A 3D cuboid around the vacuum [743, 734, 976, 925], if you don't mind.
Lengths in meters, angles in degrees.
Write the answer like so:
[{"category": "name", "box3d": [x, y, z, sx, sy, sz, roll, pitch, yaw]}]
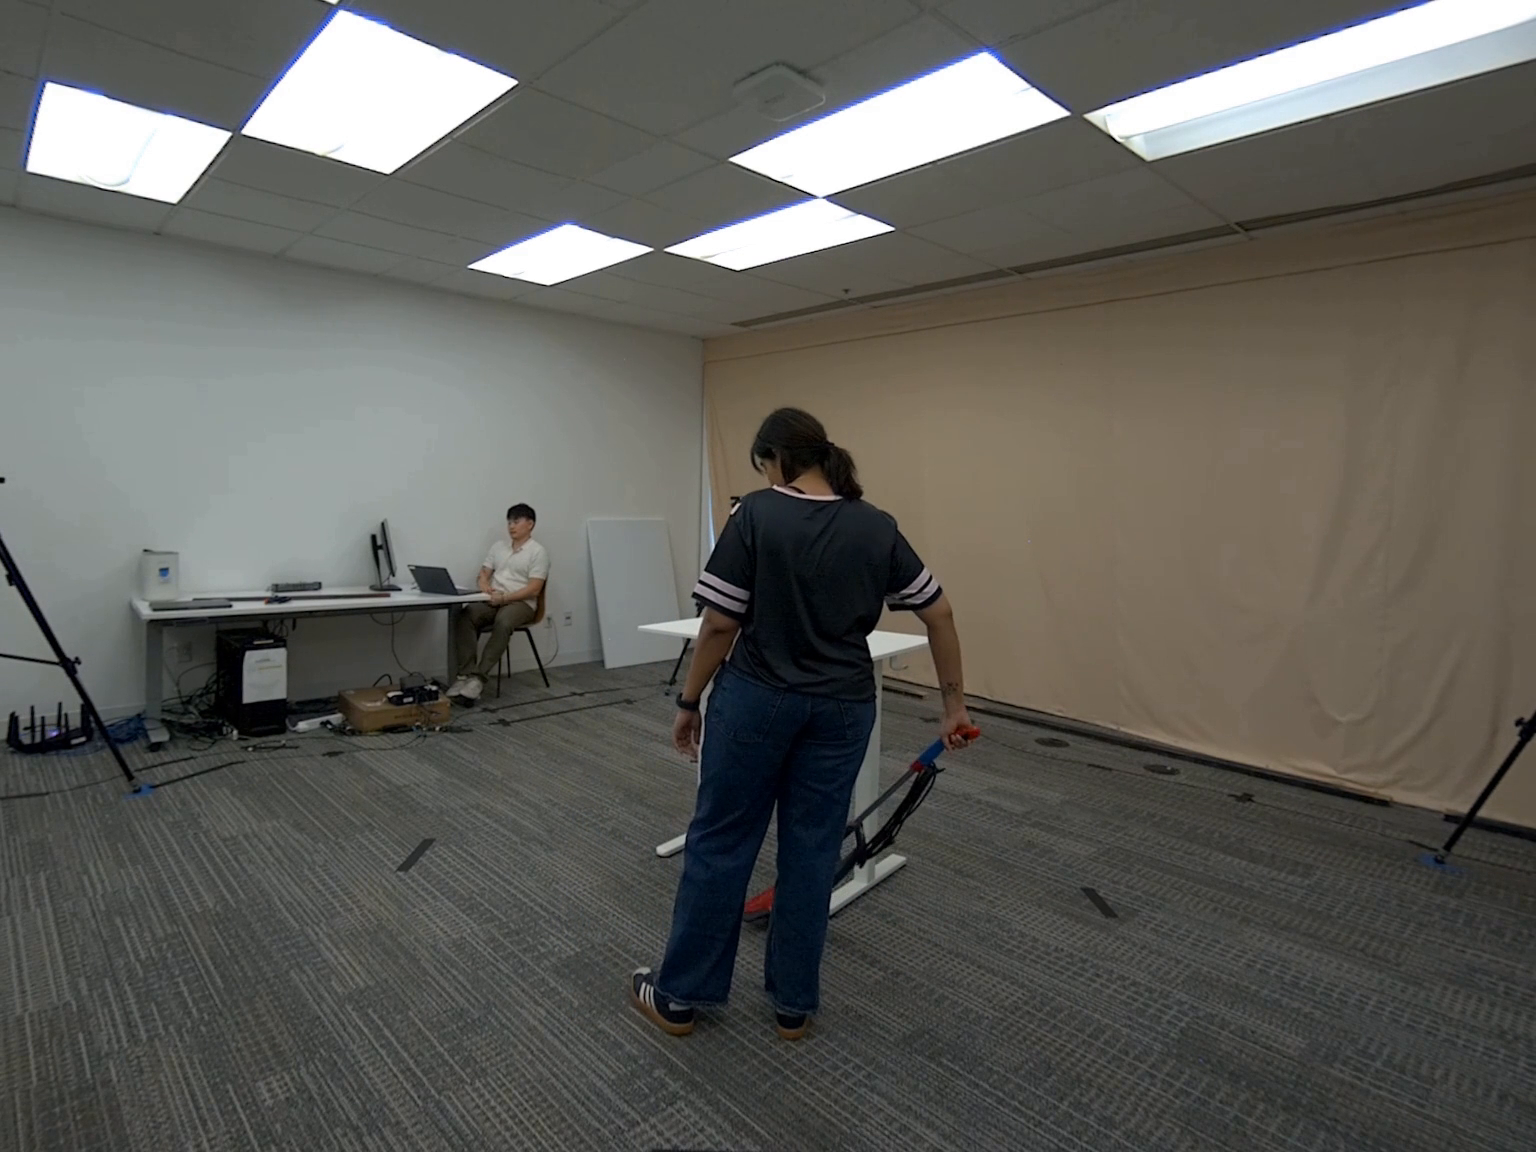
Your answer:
[{"category": "vacuum", "box3d": [0.277, 0.767, 2.477, 0.248, 0.147, 1.045, -13, -31, -47]}]
